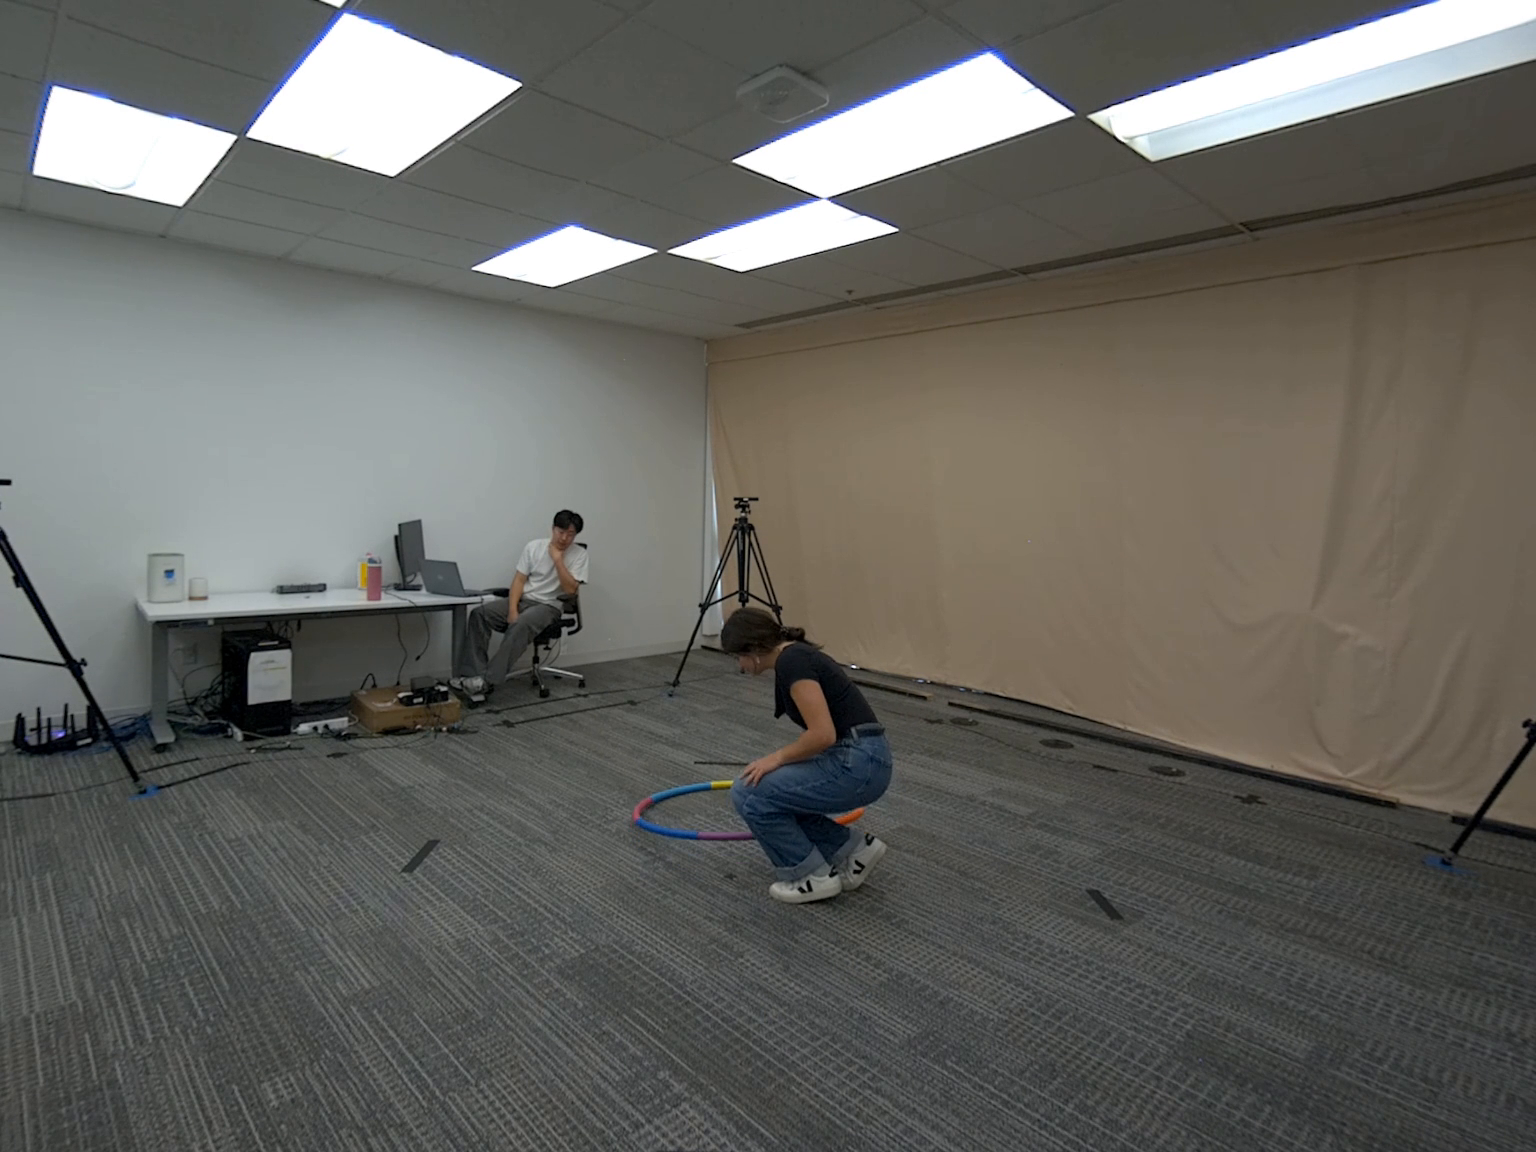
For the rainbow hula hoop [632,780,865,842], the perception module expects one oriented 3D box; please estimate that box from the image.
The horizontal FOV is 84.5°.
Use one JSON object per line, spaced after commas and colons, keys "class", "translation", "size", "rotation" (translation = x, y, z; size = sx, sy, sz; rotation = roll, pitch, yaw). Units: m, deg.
{"class": "rainbow hula hoop", "translation": [-0.094, 0.980, 3.592], "size": [0.978, 0.035, 0.977], "rotation": [-2, -2, -1]}
